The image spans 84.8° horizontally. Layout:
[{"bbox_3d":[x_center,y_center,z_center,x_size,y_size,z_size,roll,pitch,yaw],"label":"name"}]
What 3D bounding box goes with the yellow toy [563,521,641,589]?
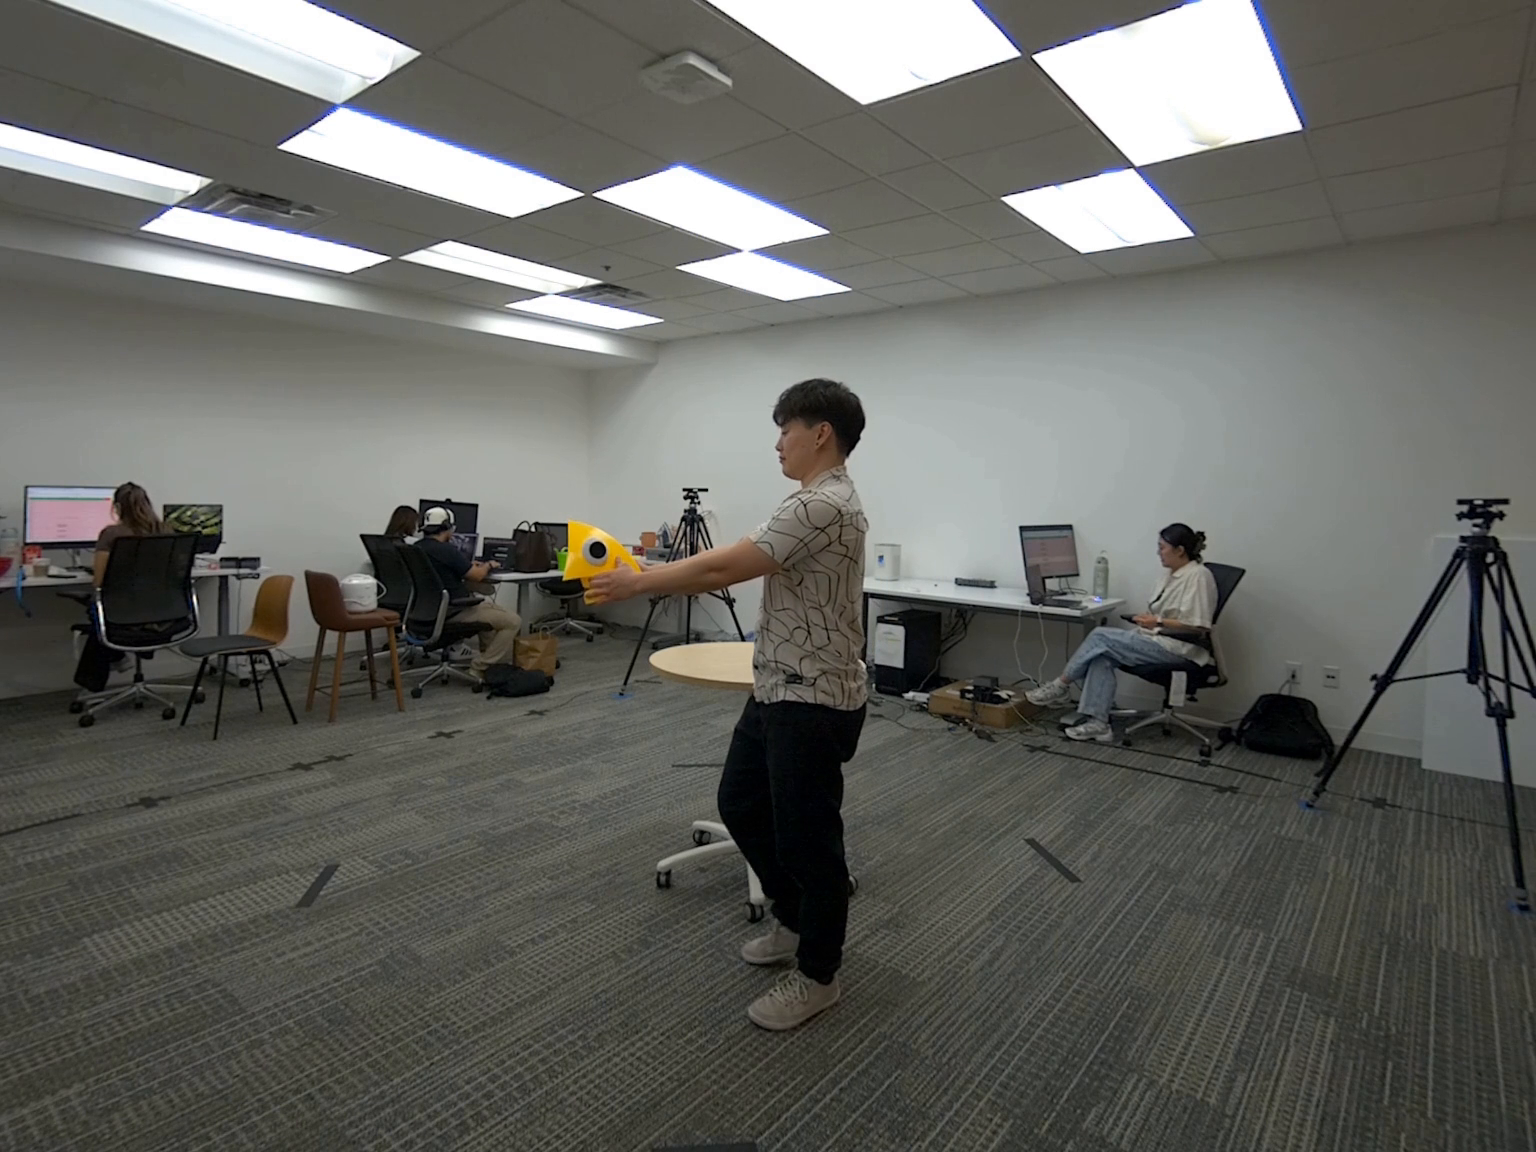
[{"bbox_3d":[-0.471,-0.063,2.336,0.194,0.230,0.204,-17,2,7],"label":"yellow toy"}]
